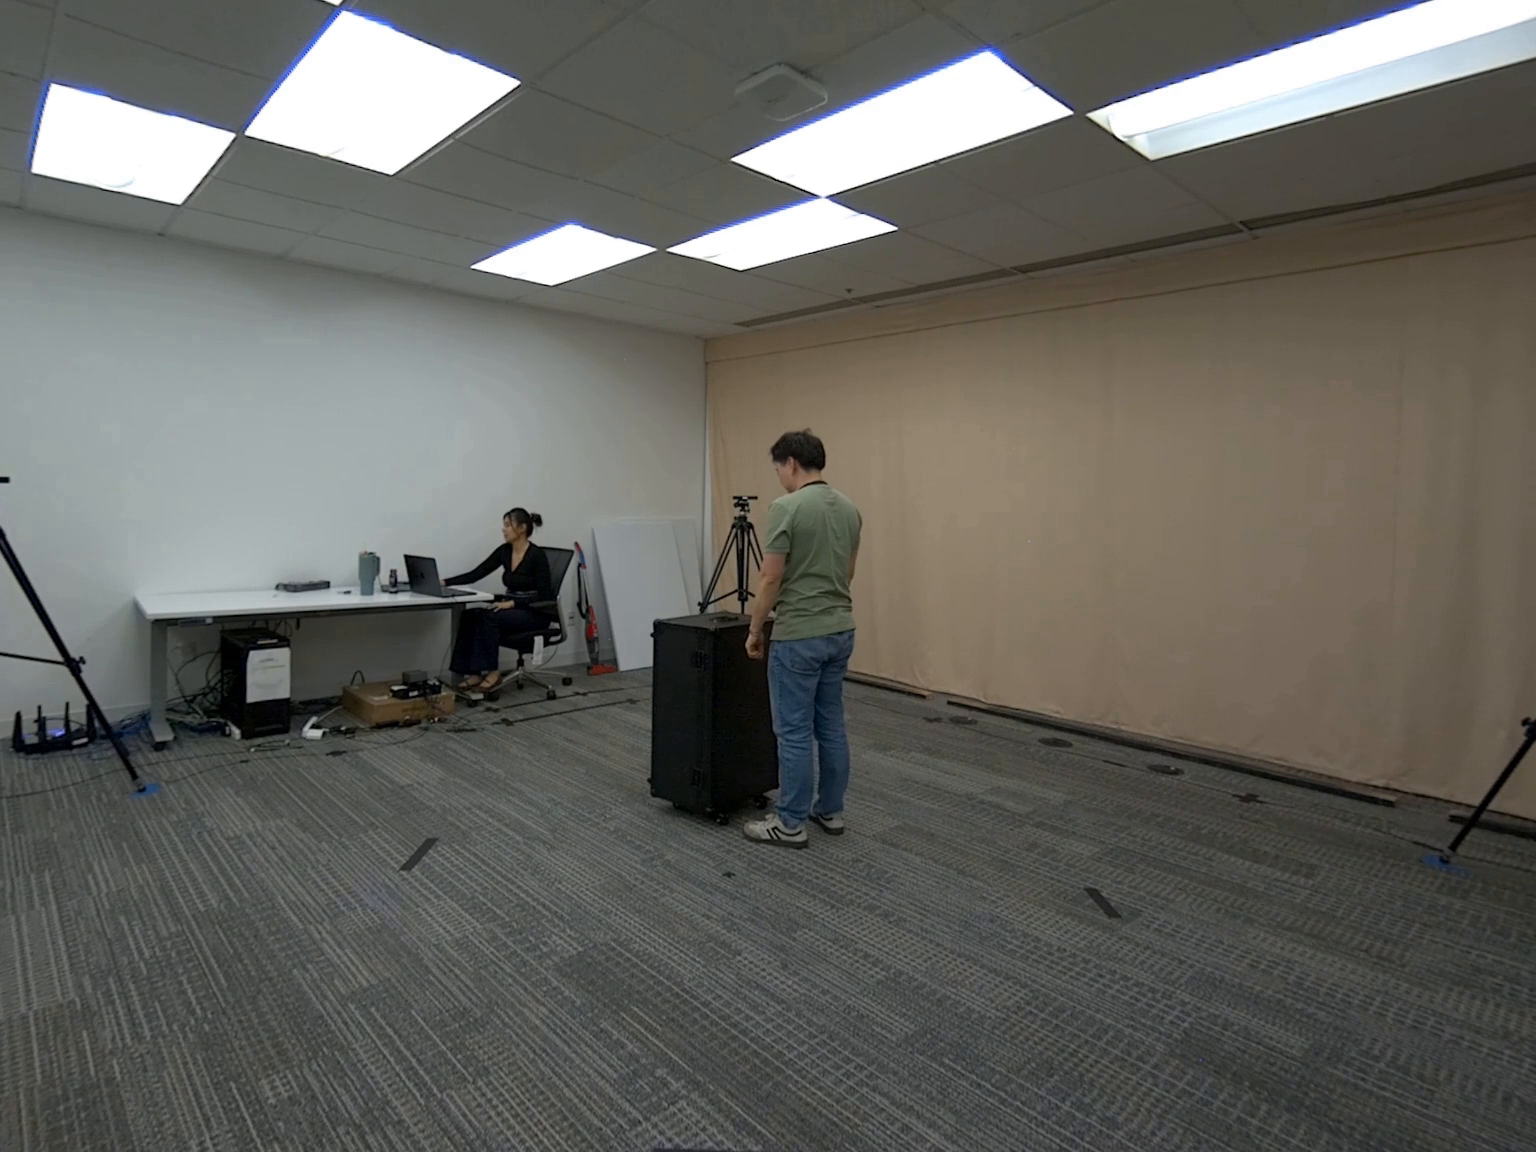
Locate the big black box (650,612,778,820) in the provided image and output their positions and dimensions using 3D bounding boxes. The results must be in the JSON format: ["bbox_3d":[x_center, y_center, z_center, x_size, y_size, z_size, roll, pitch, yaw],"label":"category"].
[{"bbox_3d":[-0.241,0.618,3.775,0.406,0.860,0.510,2,3,39],"label":"big black box"}]
